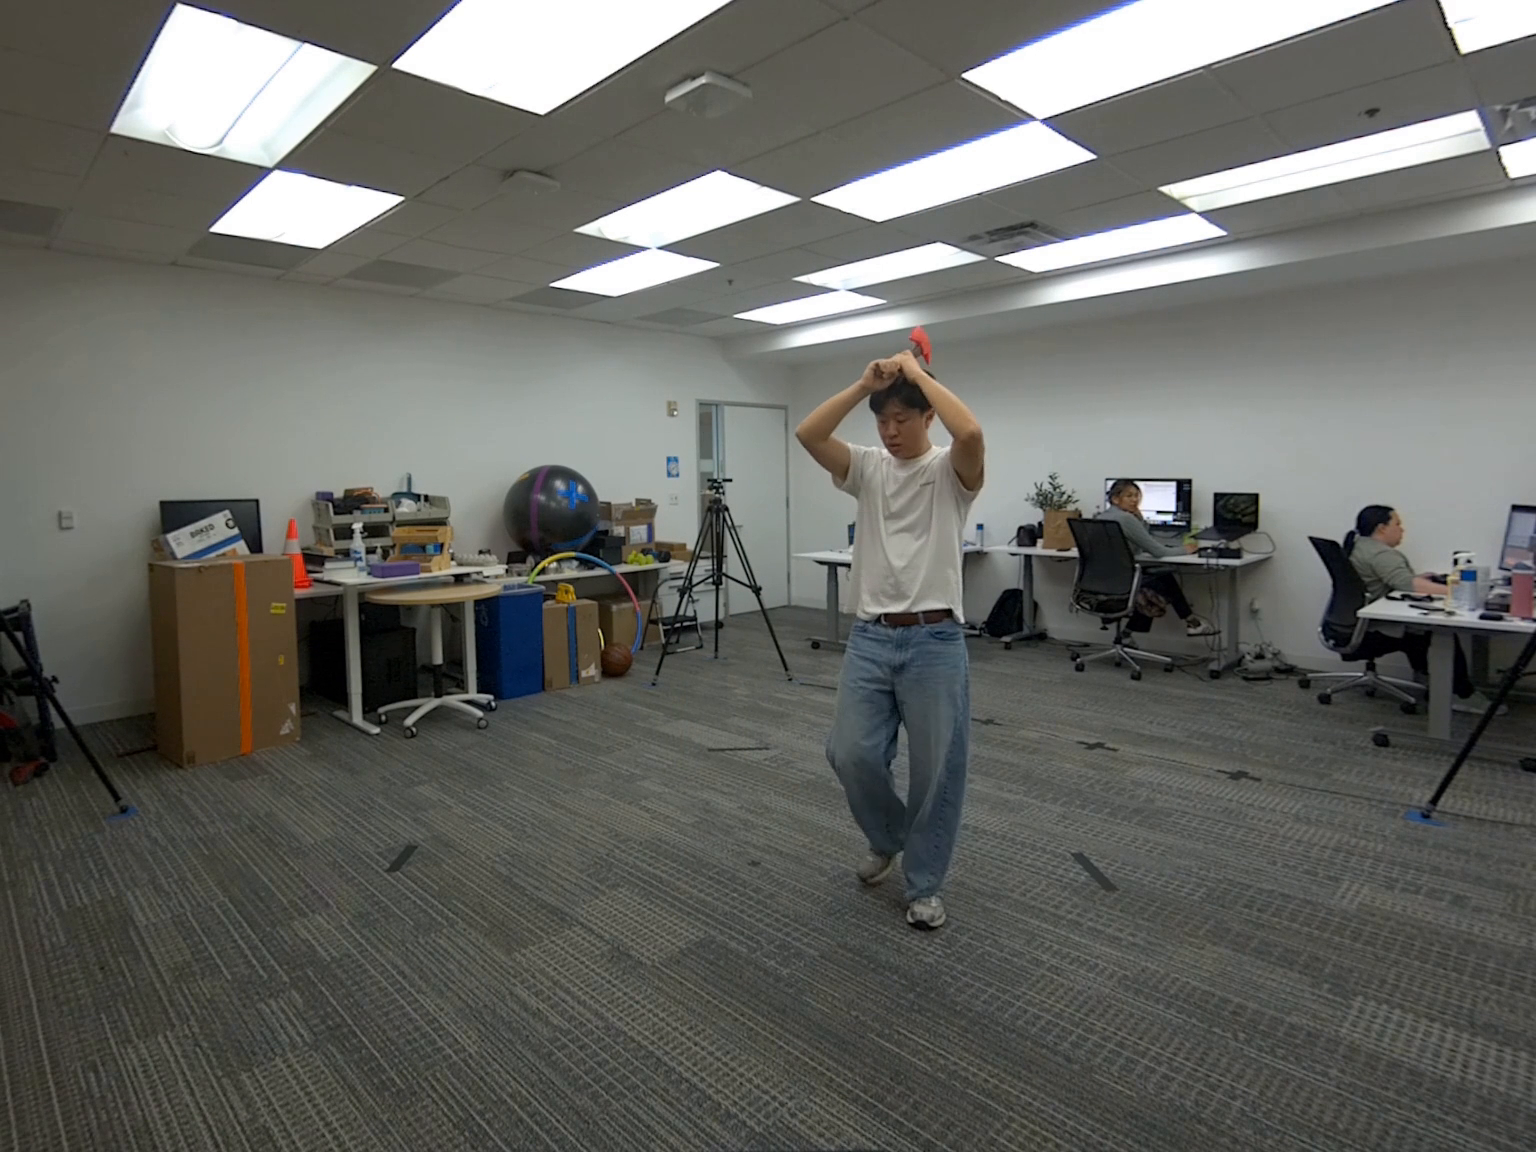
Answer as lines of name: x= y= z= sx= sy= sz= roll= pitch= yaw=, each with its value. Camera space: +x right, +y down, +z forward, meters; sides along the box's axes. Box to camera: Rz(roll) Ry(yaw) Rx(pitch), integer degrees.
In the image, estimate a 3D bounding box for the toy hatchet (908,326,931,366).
toy hatchet: x=0.419 y=-0.709 z=2.660 sx=0.265 sy=0.129 sz=0.030 roll=-20 pitch=21 yaw=-38
